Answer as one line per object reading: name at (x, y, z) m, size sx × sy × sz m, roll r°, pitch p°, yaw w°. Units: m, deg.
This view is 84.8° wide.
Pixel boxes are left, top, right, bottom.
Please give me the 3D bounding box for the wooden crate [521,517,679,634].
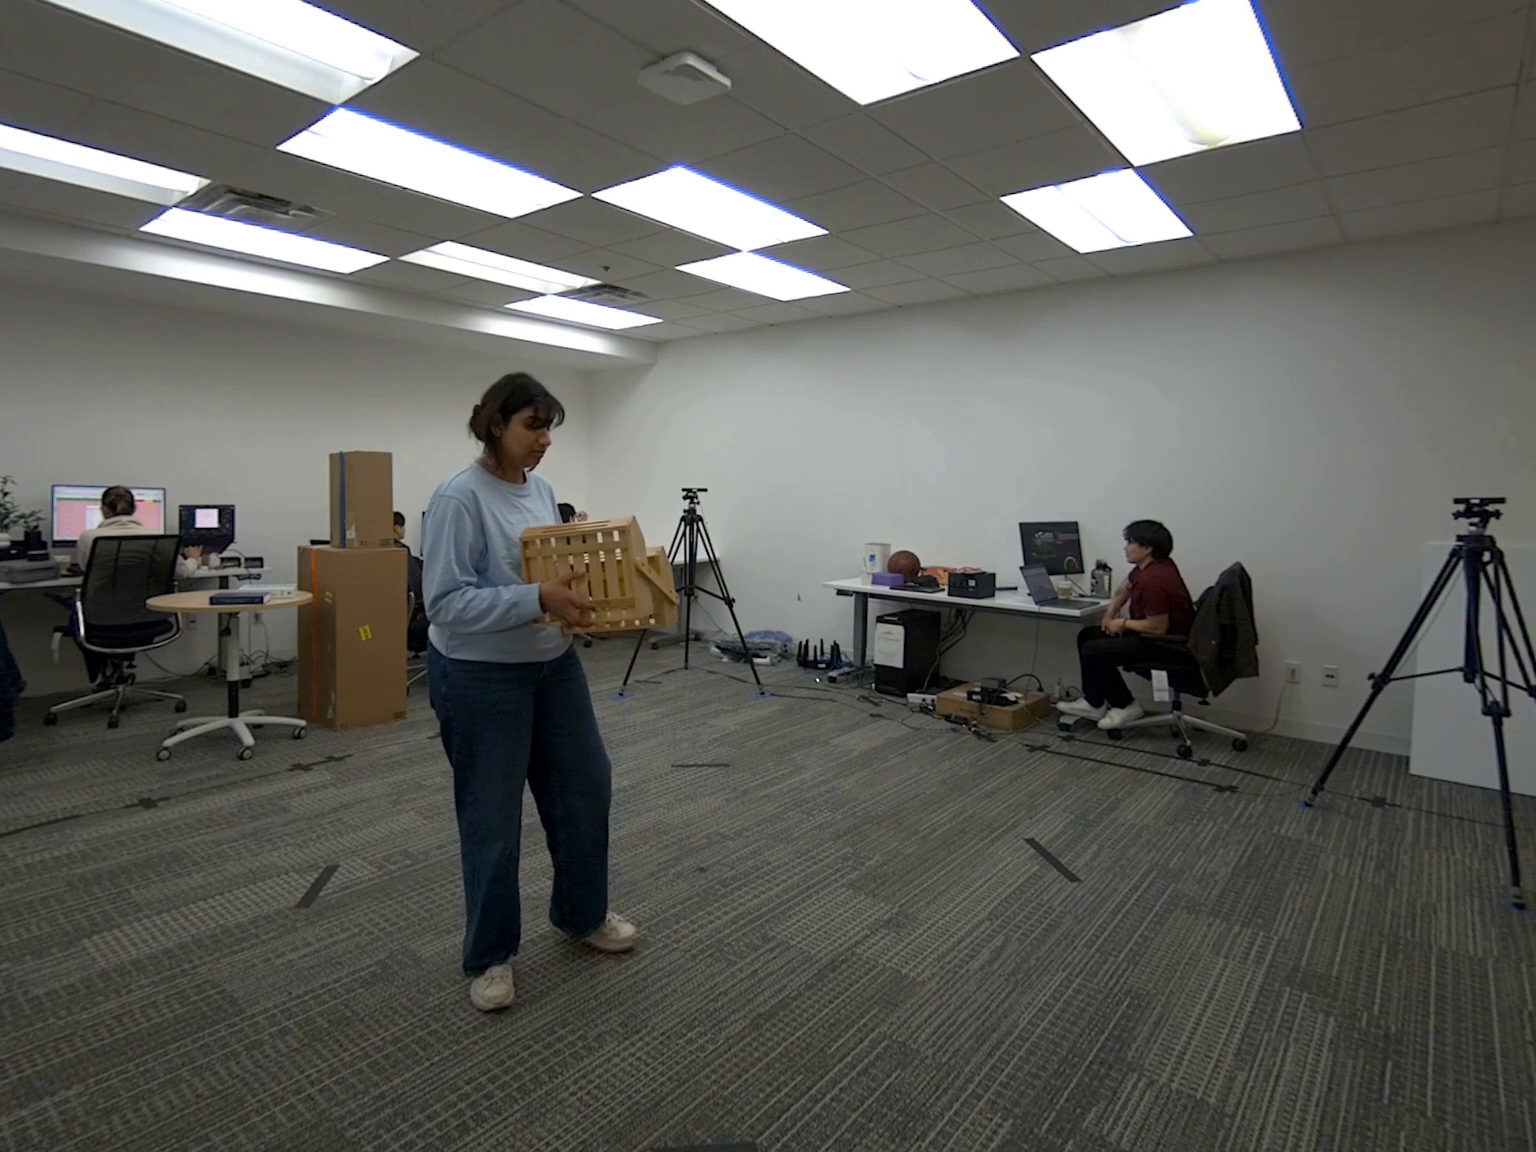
wooden crate at (-0.440, 0.004, 2.211) m, size 0.329 × 0.301 × 0.270 m, roll -6°, pitch 3°, yaw 14°
